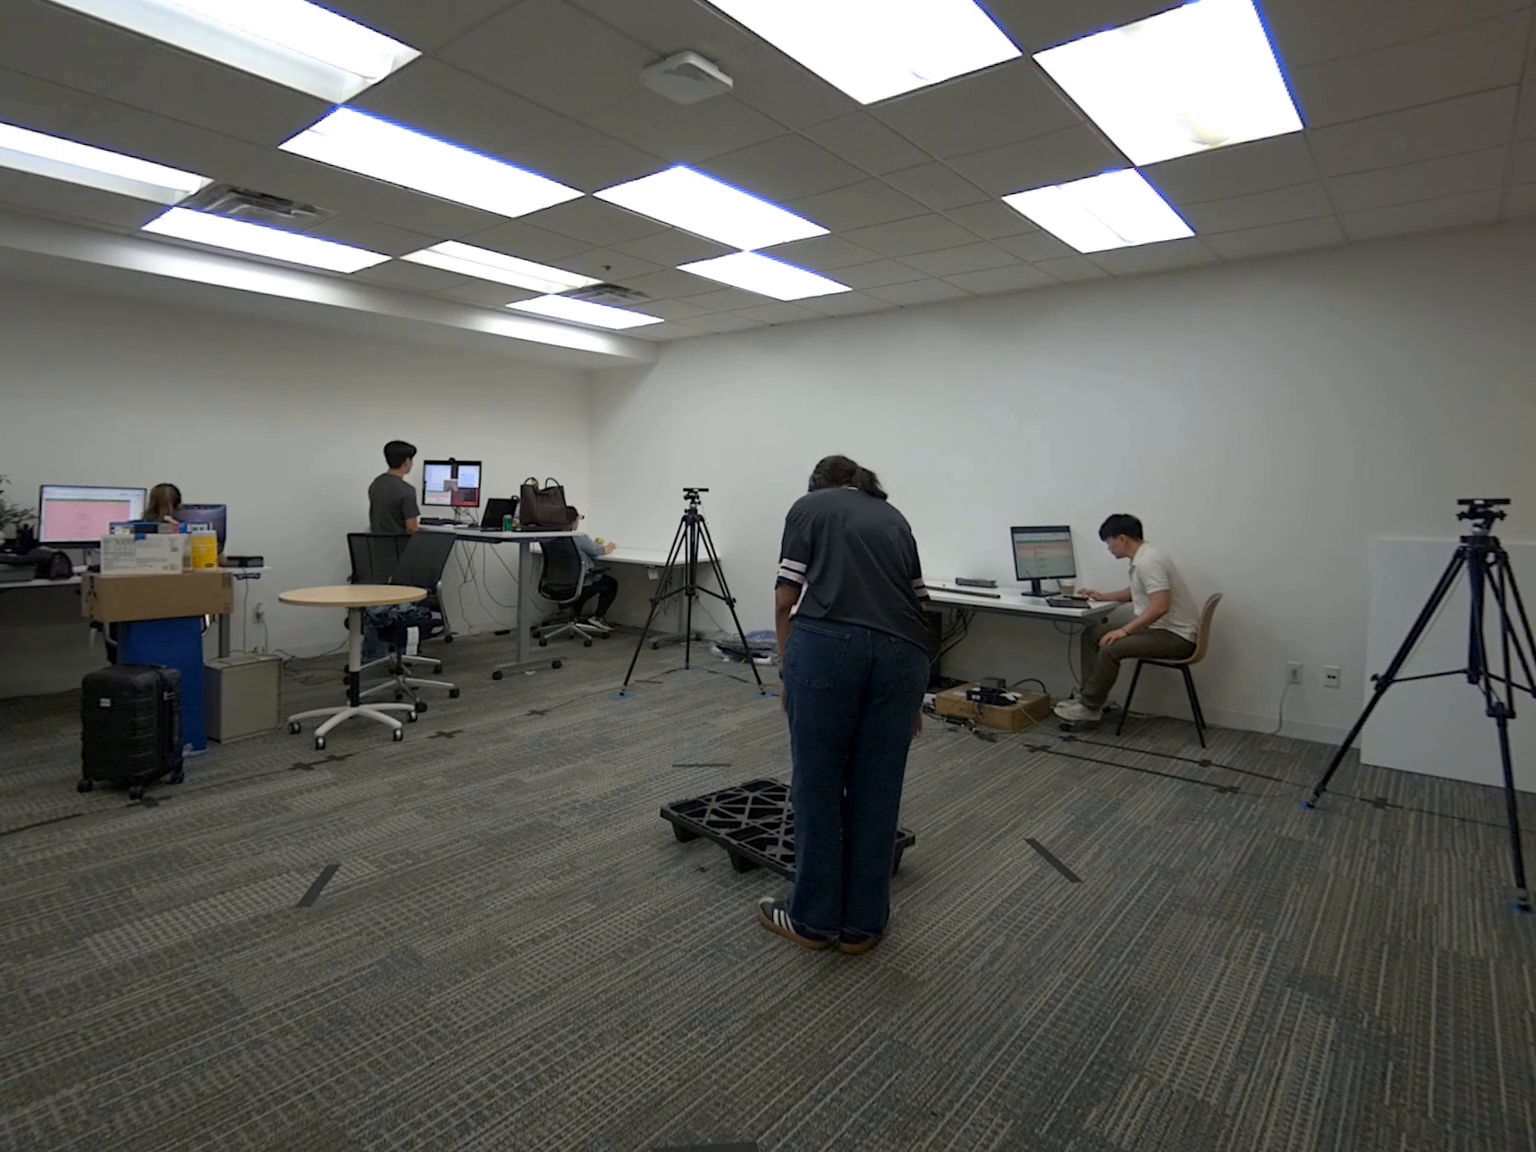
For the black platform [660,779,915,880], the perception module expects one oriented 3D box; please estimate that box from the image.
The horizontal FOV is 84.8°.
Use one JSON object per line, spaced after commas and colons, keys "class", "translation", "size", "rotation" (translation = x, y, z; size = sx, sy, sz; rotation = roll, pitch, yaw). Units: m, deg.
{"class": "black platform", "translation": [0.048, 0.995, 3.254], "size": [0.586, 0.143, 0.834], "rotation": [-3, 7, -43]}
